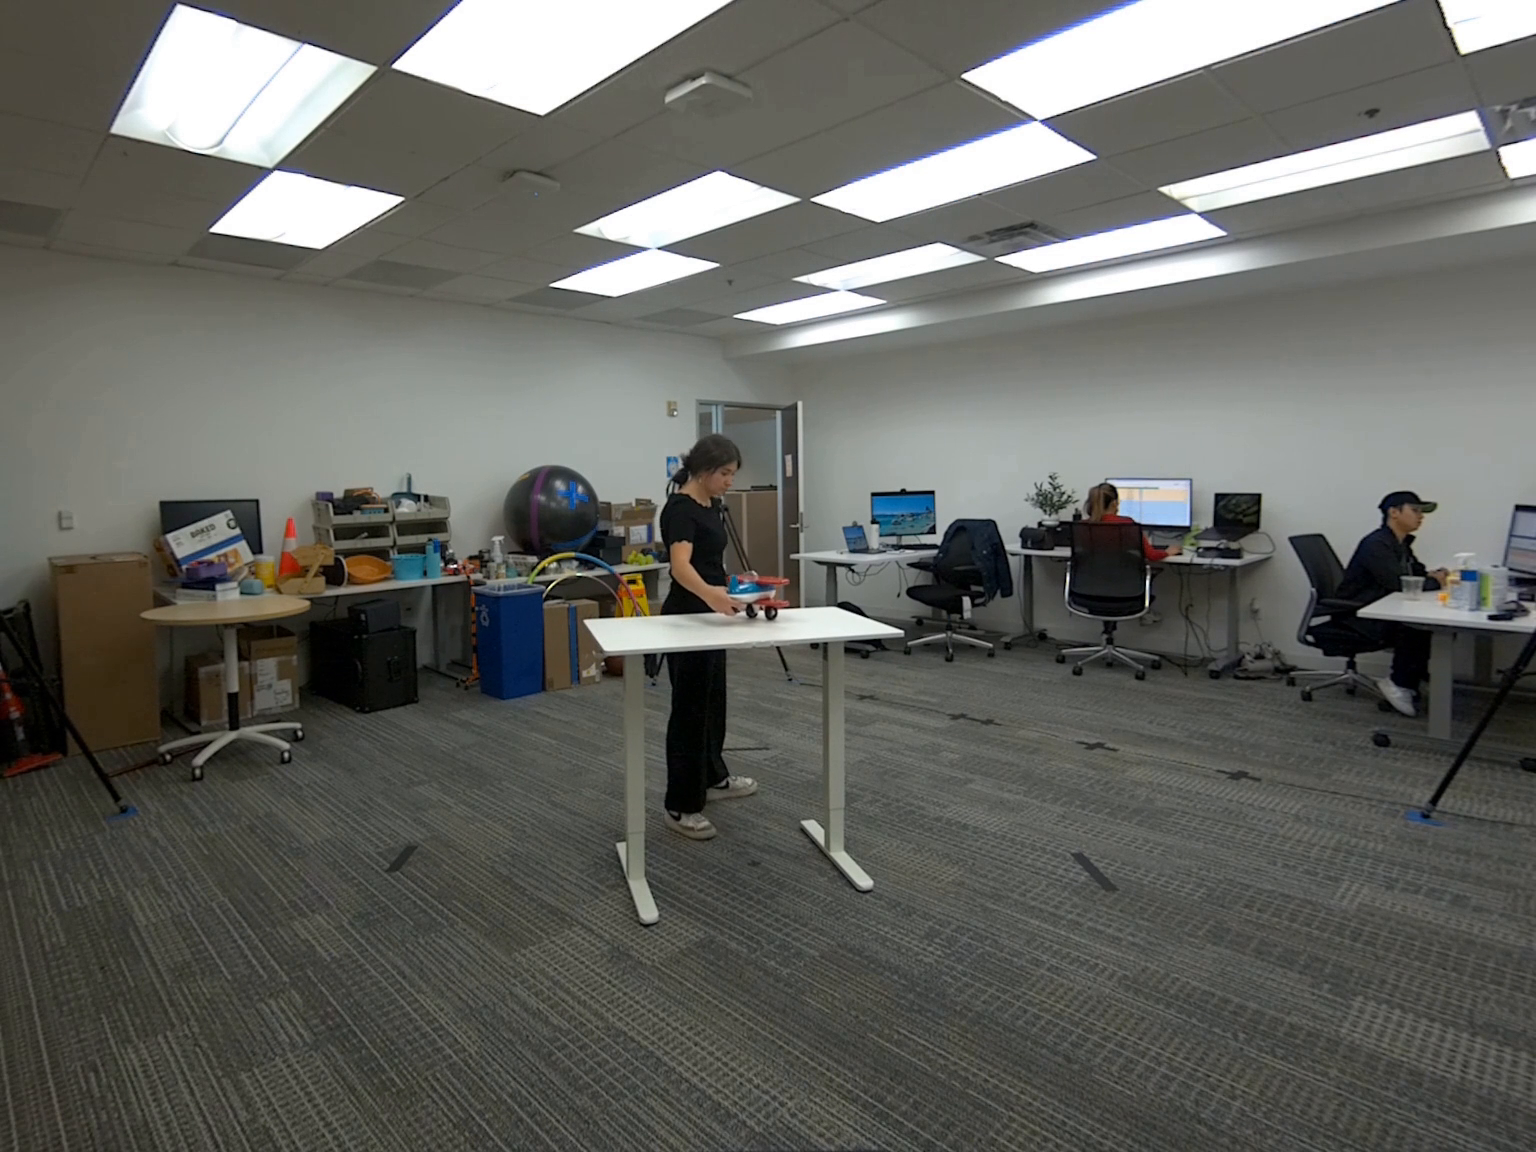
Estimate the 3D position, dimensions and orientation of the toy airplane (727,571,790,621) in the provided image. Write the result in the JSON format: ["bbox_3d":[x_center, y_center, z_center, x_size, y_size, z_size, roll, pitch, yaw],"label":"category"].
[{"bbox_3d":[-0.046,0.070,3.086,0.253,0.157,0.255,7,-7,7],"label":"toy airplane"}]
